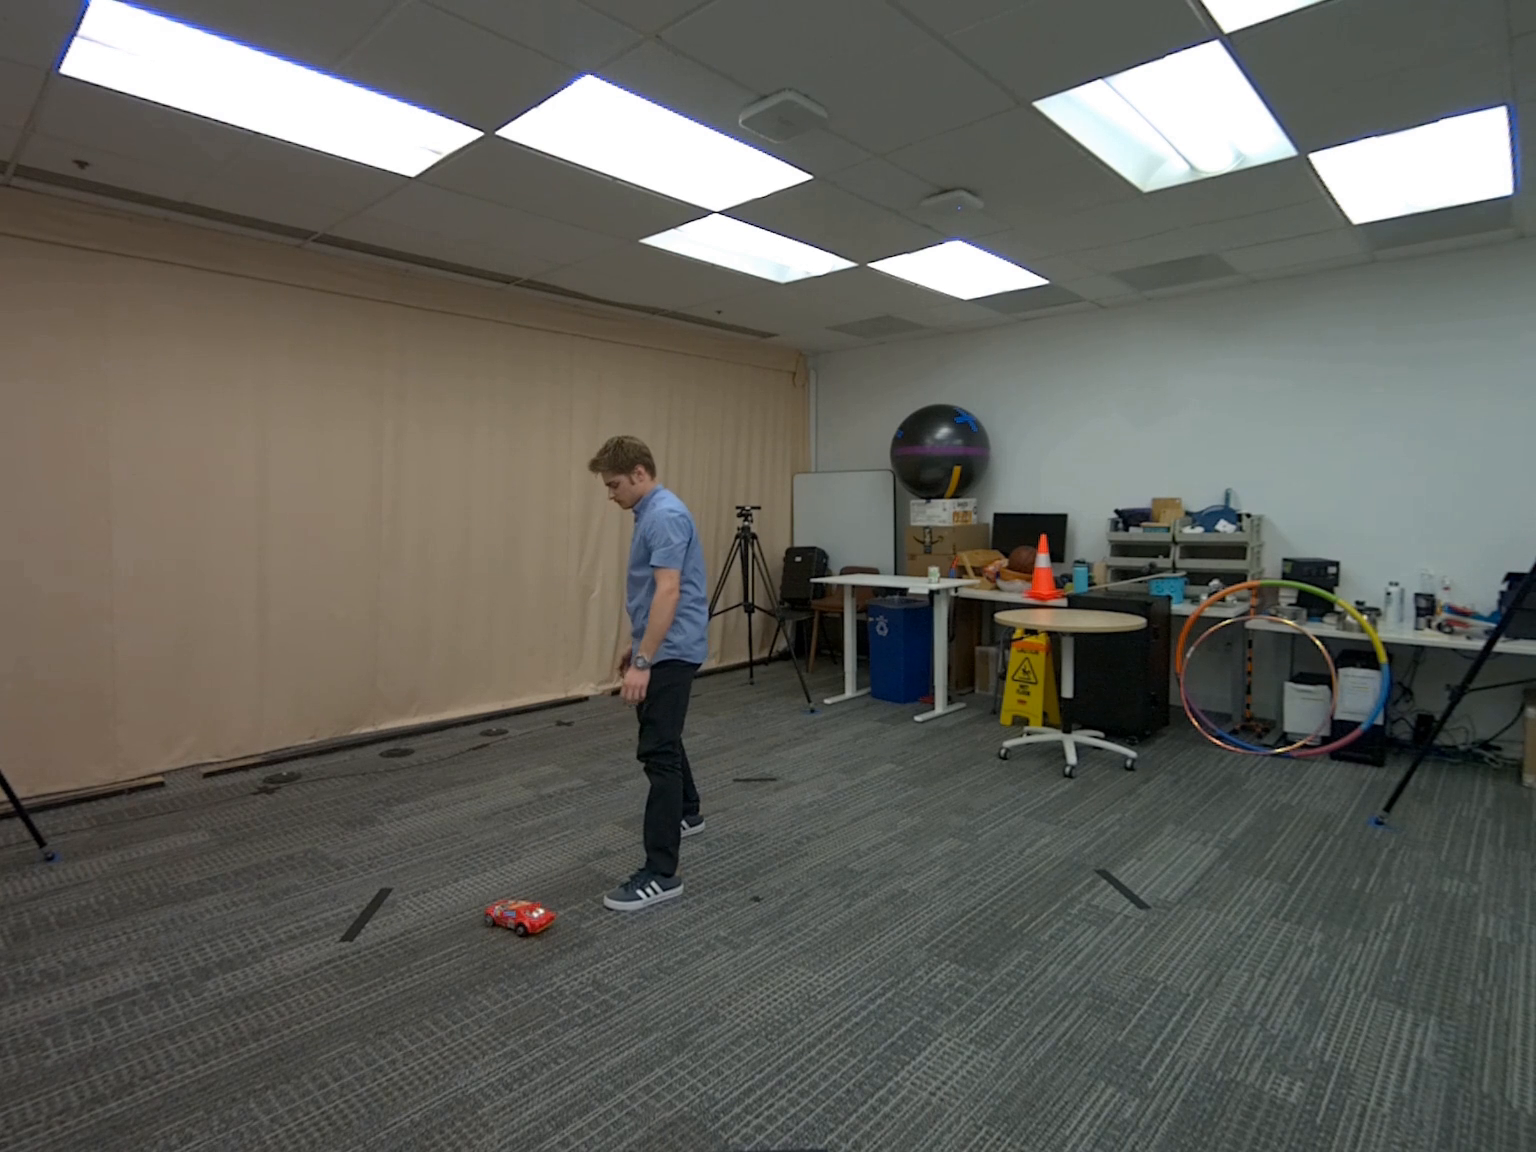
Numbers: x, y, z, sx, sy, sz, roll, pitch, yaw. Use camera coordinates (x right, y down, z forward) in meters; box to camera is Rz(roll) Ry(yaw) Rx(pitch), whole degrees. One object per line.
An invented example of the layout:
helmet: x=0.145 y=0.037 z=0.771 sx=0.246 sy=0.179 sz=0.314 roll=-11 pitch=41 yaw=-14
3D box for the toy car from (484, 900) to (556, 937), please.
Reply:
toy car: x=-0.820 y=1.135 z=2.791 sx=0.260 sy=0.083 sz=0.127 roll=-11 pitch=-1 yaw=28
